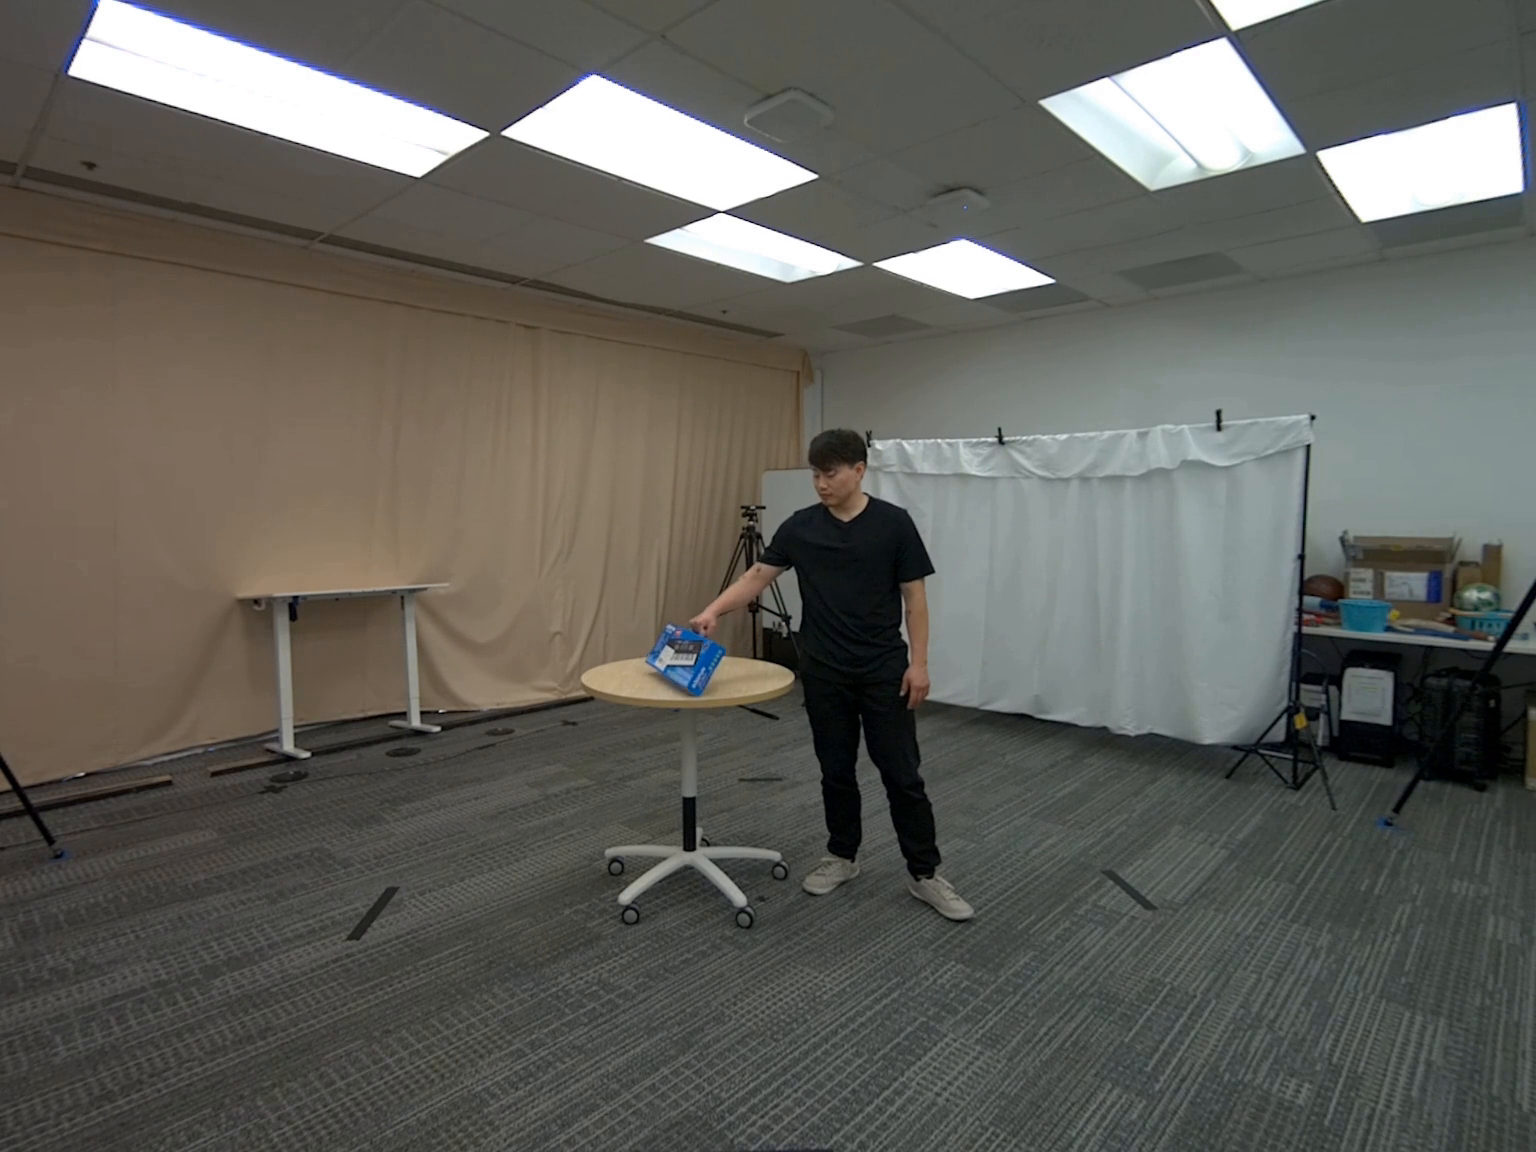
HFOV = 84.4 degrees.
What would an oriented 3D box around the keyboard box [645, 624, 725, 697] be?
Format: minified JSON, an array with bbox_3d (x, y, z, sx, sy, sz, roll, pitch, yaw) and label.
[{"bbox_3d":[-0.284,0.273,2.885,0.057,0.176,0.449,34,-11,-25],"label":"keyboard box"}]
